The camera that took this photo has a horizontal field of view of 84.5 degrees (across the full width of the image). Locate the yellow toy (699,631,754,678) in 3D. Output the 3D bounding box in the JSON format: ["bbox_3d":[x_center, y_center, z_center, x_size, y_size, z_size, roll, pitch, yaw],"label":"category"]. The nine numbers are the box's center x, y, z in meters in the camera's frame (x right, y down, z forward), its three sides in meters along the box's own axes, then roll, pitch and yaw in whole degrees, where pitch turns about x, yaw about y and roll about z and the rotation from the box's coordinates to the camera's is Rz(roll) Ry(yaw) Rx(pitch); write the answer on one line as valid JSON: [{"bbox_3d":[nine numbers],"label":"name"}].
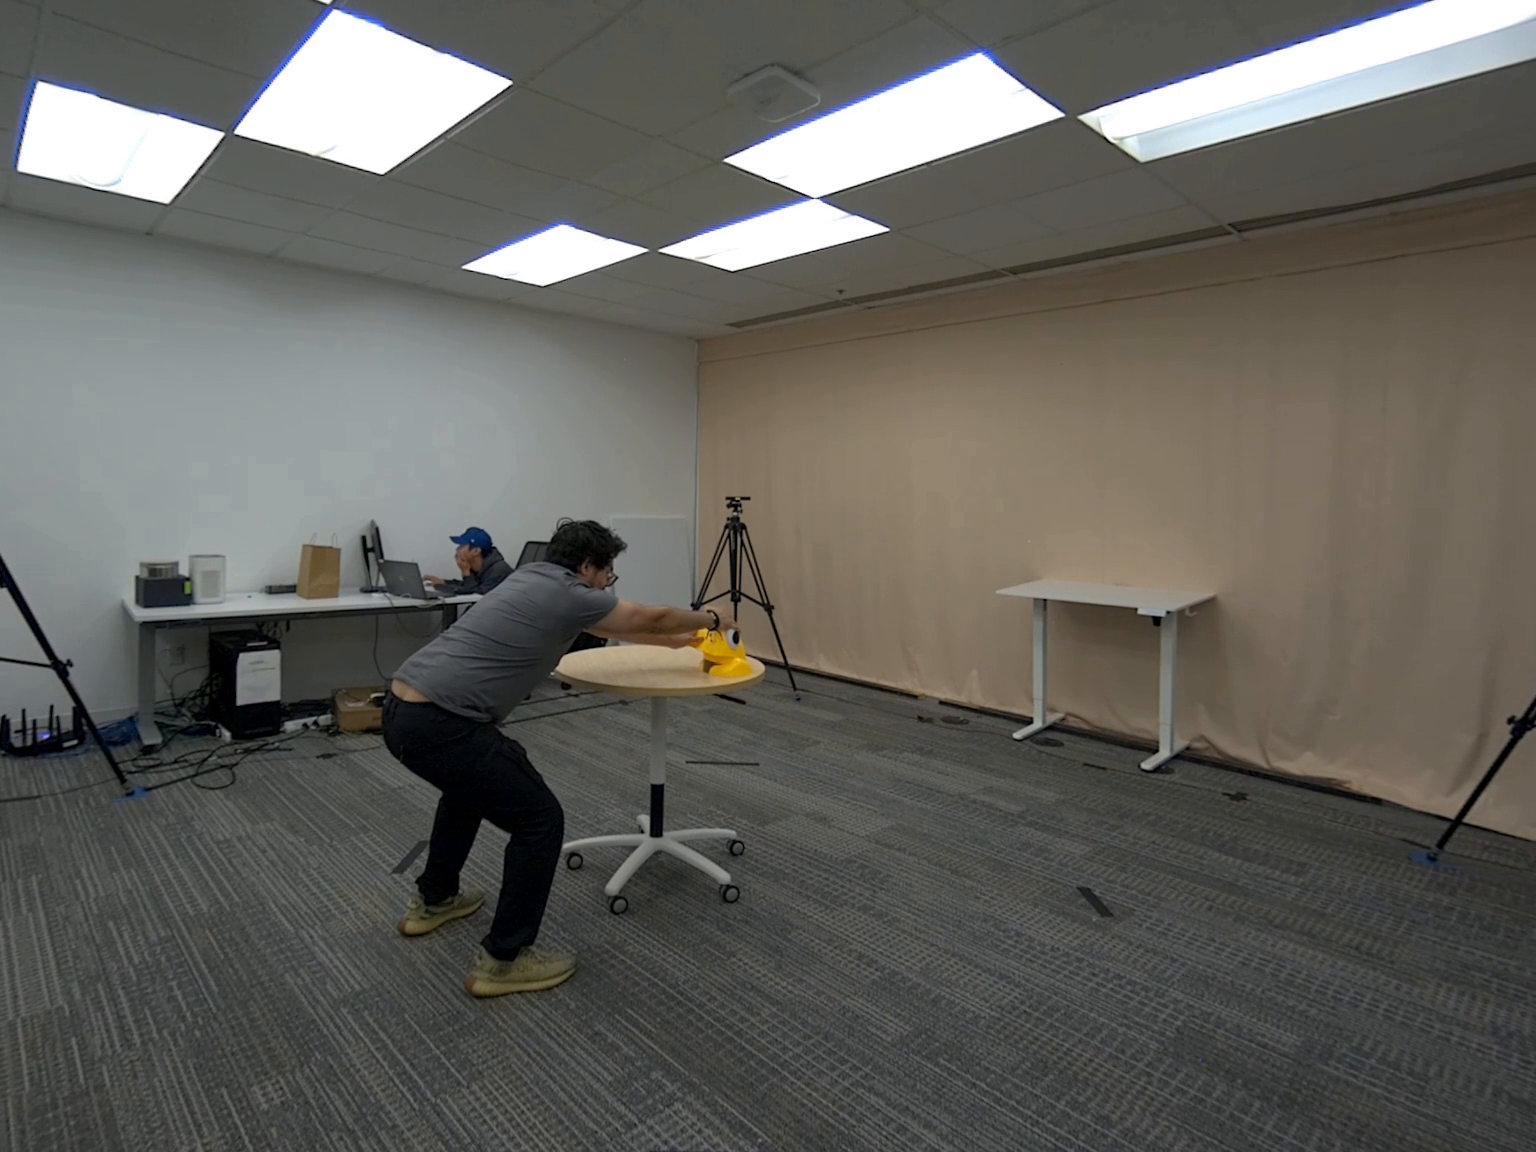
[{"bbox_3d":[-0.163,0.227,2.990,0.189,0.230,0.209,0,5,-29],"label":"yellow toy"}]
